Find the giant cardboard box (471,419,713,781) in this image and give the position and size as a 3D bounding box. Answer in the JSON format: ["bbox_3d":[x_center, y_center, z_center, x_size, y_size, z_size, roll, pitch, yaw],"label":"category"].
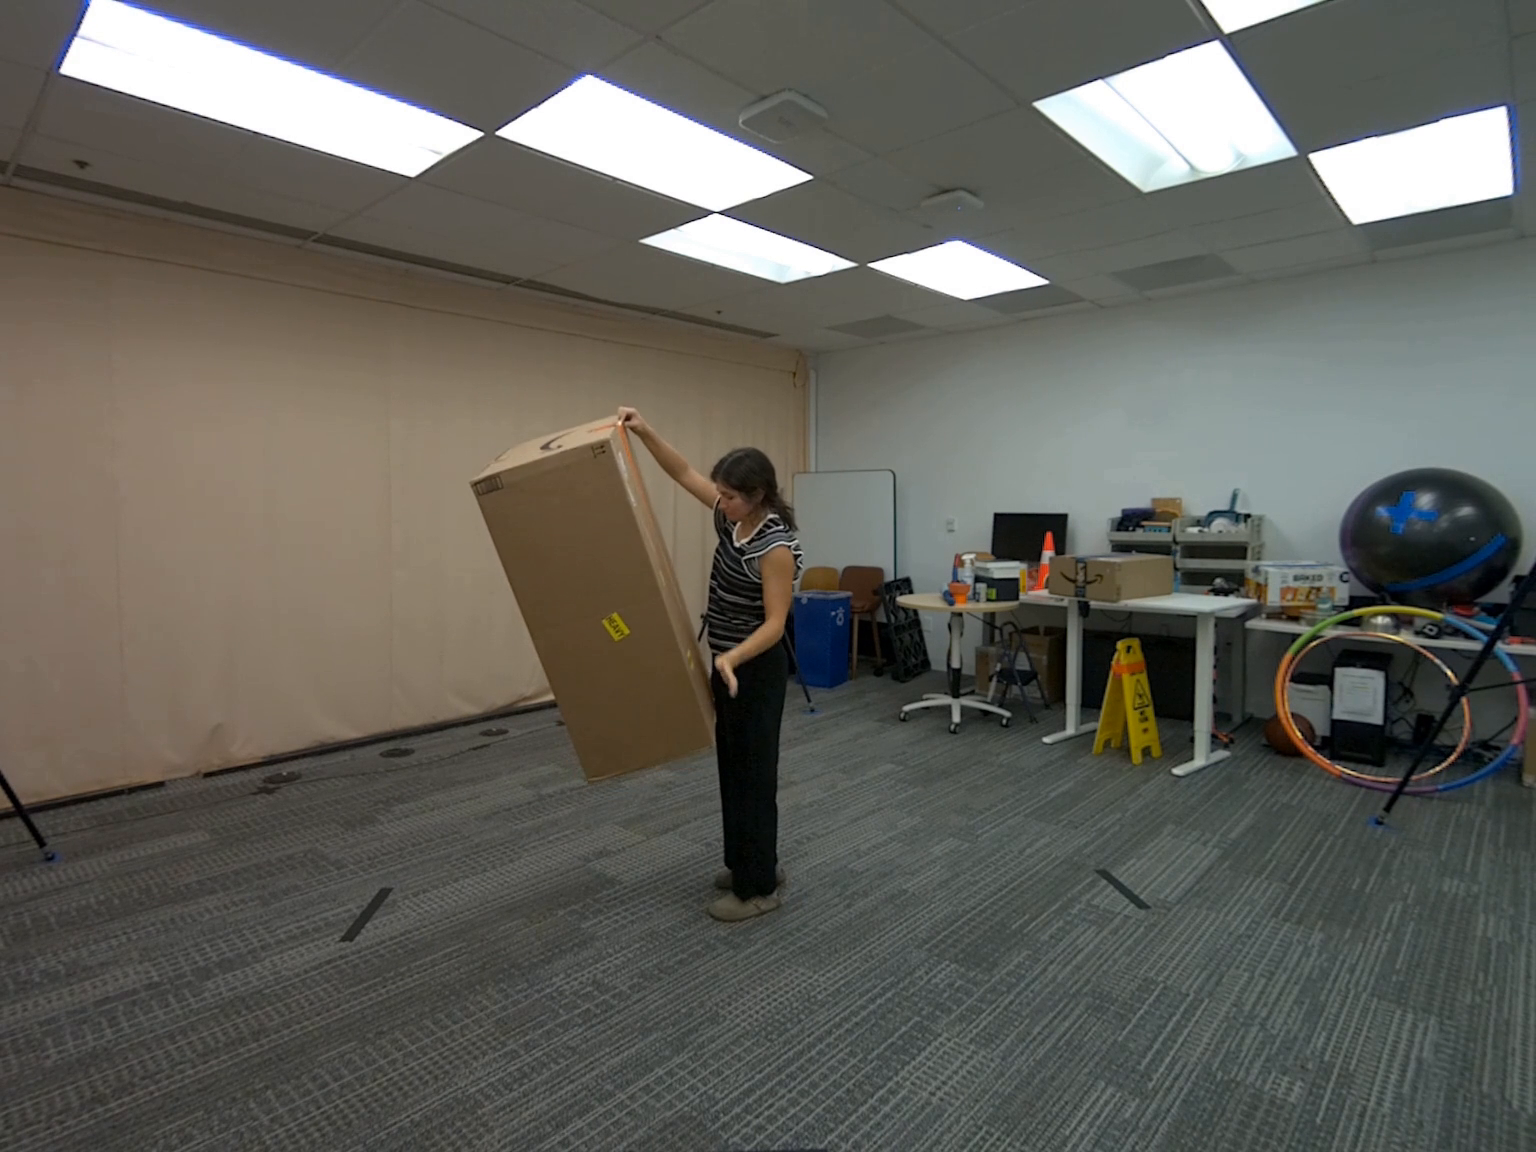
[{"bbox_3d":[-0.527,0.042,2.784,0.427,1.012,0.584,-16,16,1],"label":"giant cardboard box"}]
